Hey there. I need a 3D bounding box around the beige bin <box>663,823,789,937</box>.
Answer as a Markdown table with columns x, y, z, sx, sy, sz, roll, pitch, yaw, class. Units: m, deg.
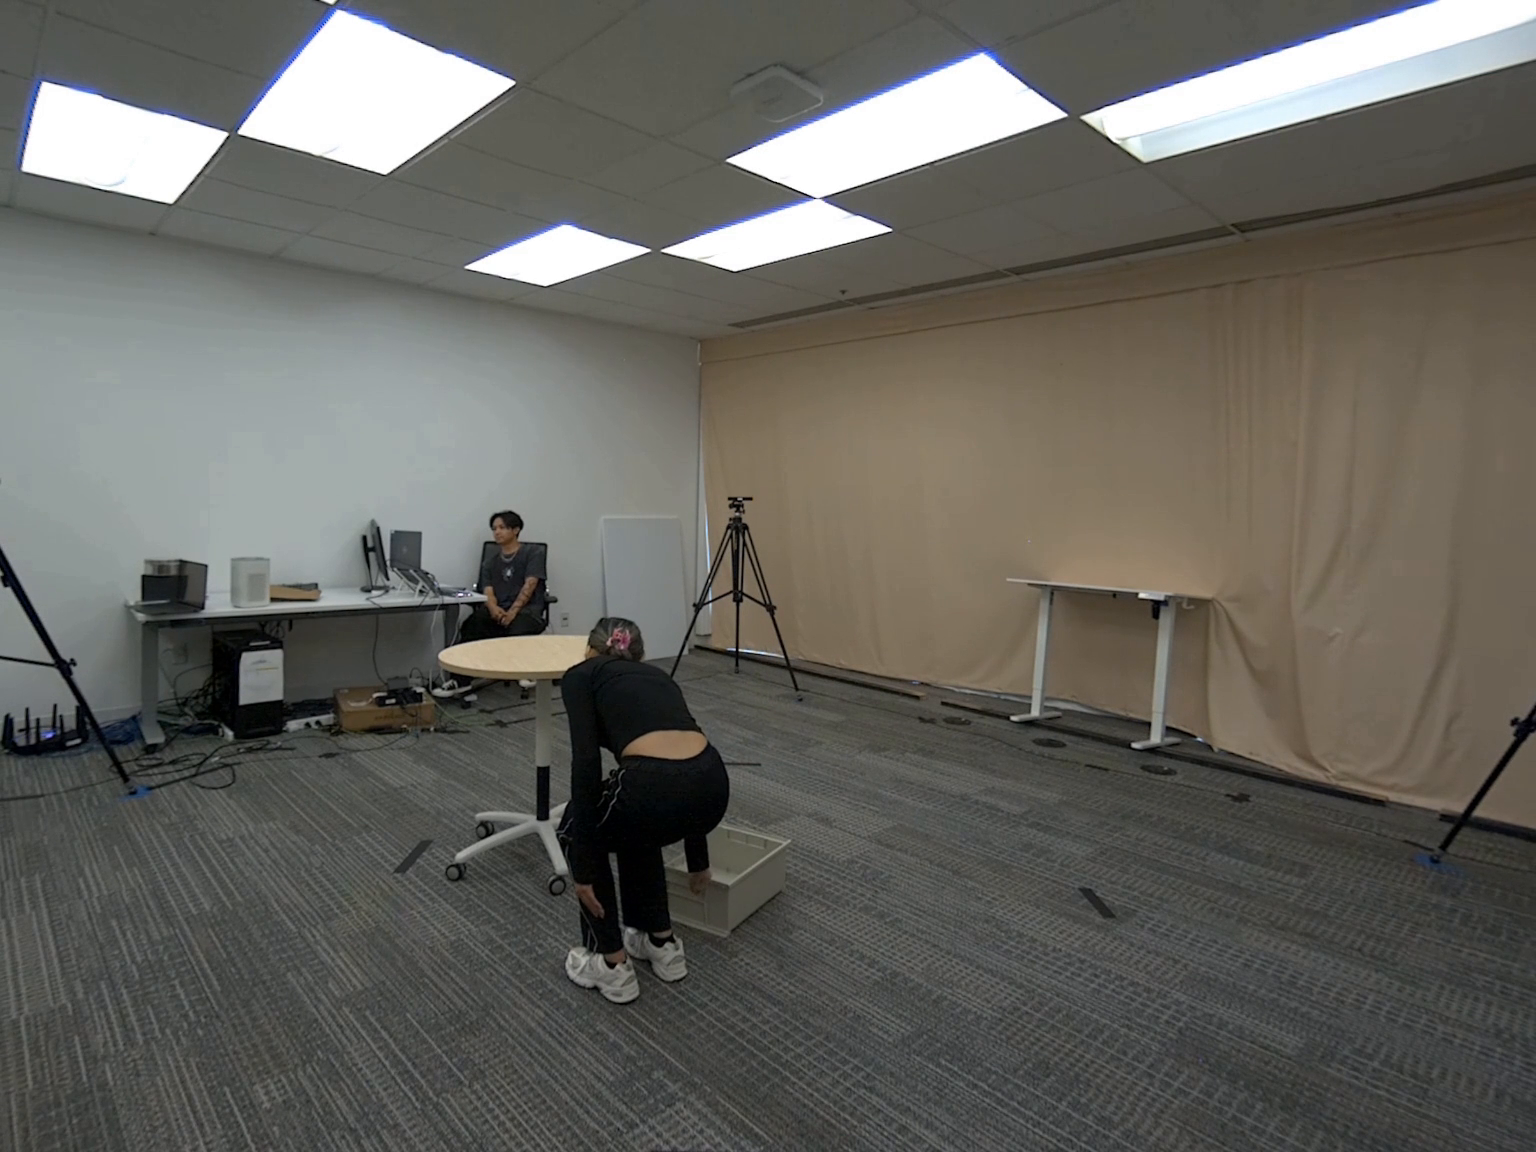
| x | y | z | sx | sy | sz | roll | pitch | yaw | class |
| --- | --- | --- | --- | --- | --- | --- | --- | --- | --- |
| -0.191 | 1.037 | 2.920 | 0.386 | 0.188 | 0.414 | 5 | 6 | 30 | beige bin |
